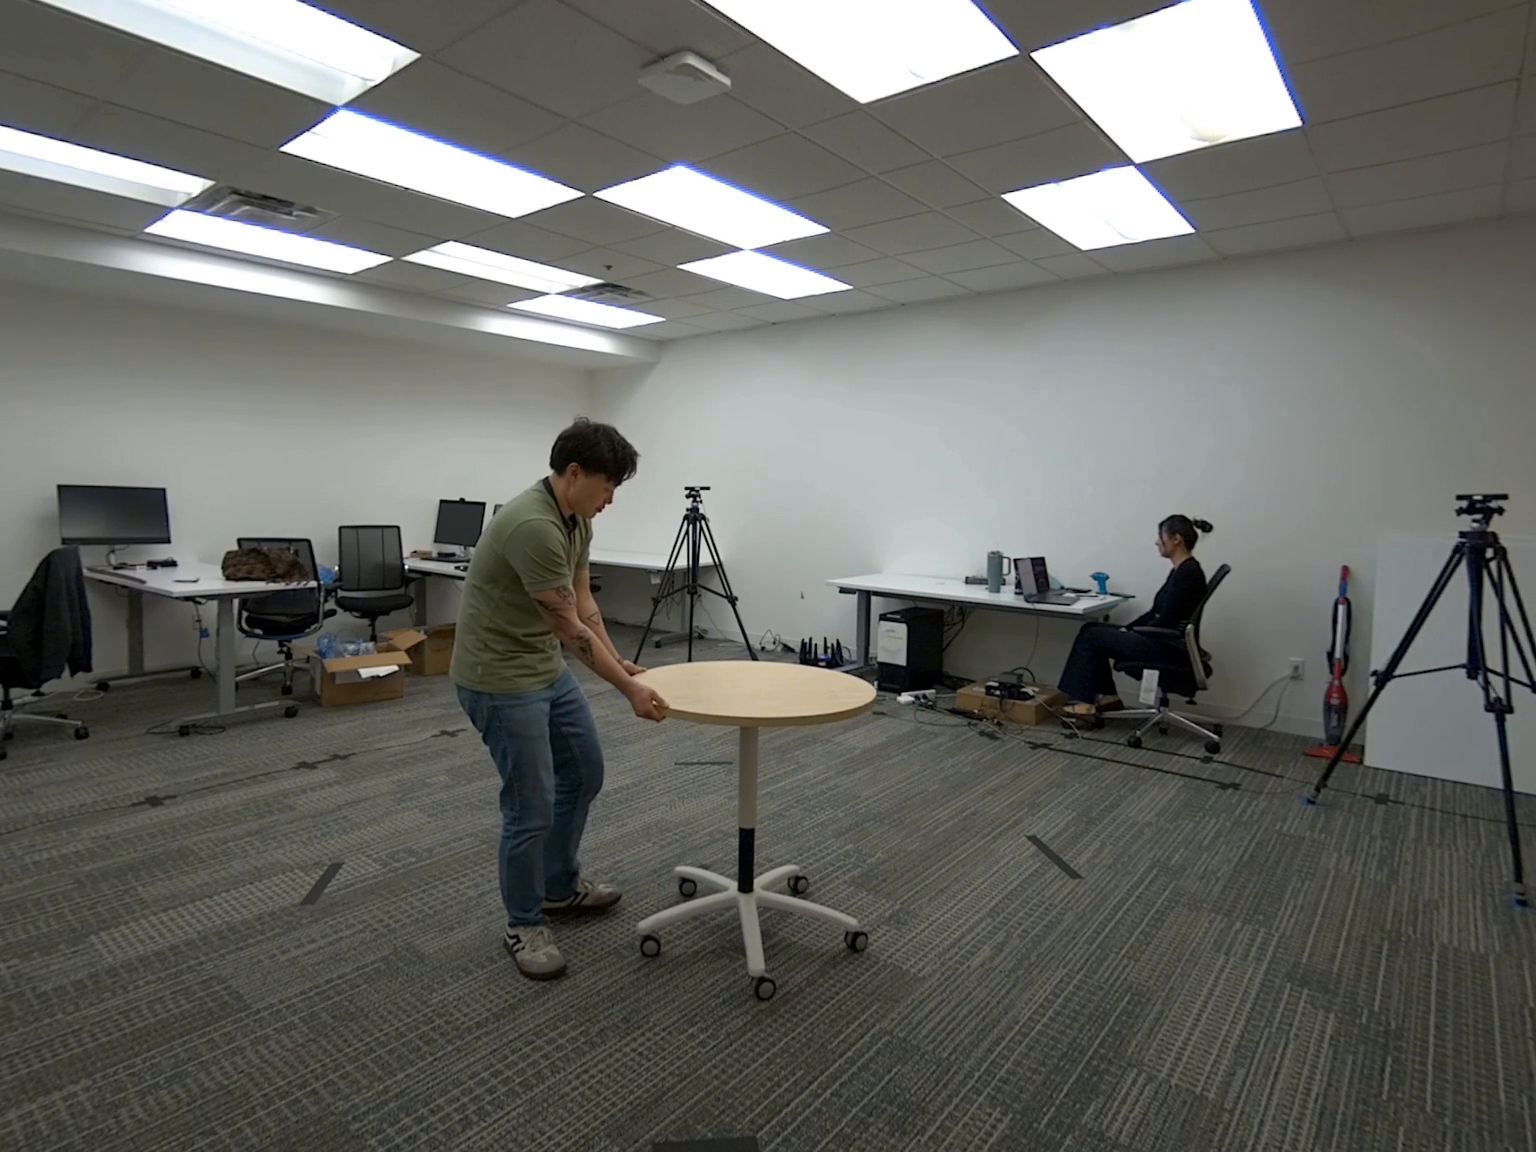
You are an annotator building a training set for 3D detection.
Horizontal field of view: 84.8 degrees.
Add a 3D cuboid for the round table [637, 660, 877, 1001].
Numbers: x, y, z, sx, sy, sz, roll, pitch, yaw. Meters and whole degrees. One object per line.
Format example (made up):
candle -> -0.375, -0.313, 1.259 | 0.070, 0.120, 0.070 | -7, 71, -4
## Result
round table -> -0.063, 0.729, 2.630 | 0.763, 0.792, 0.767 | 1, 4, -2
